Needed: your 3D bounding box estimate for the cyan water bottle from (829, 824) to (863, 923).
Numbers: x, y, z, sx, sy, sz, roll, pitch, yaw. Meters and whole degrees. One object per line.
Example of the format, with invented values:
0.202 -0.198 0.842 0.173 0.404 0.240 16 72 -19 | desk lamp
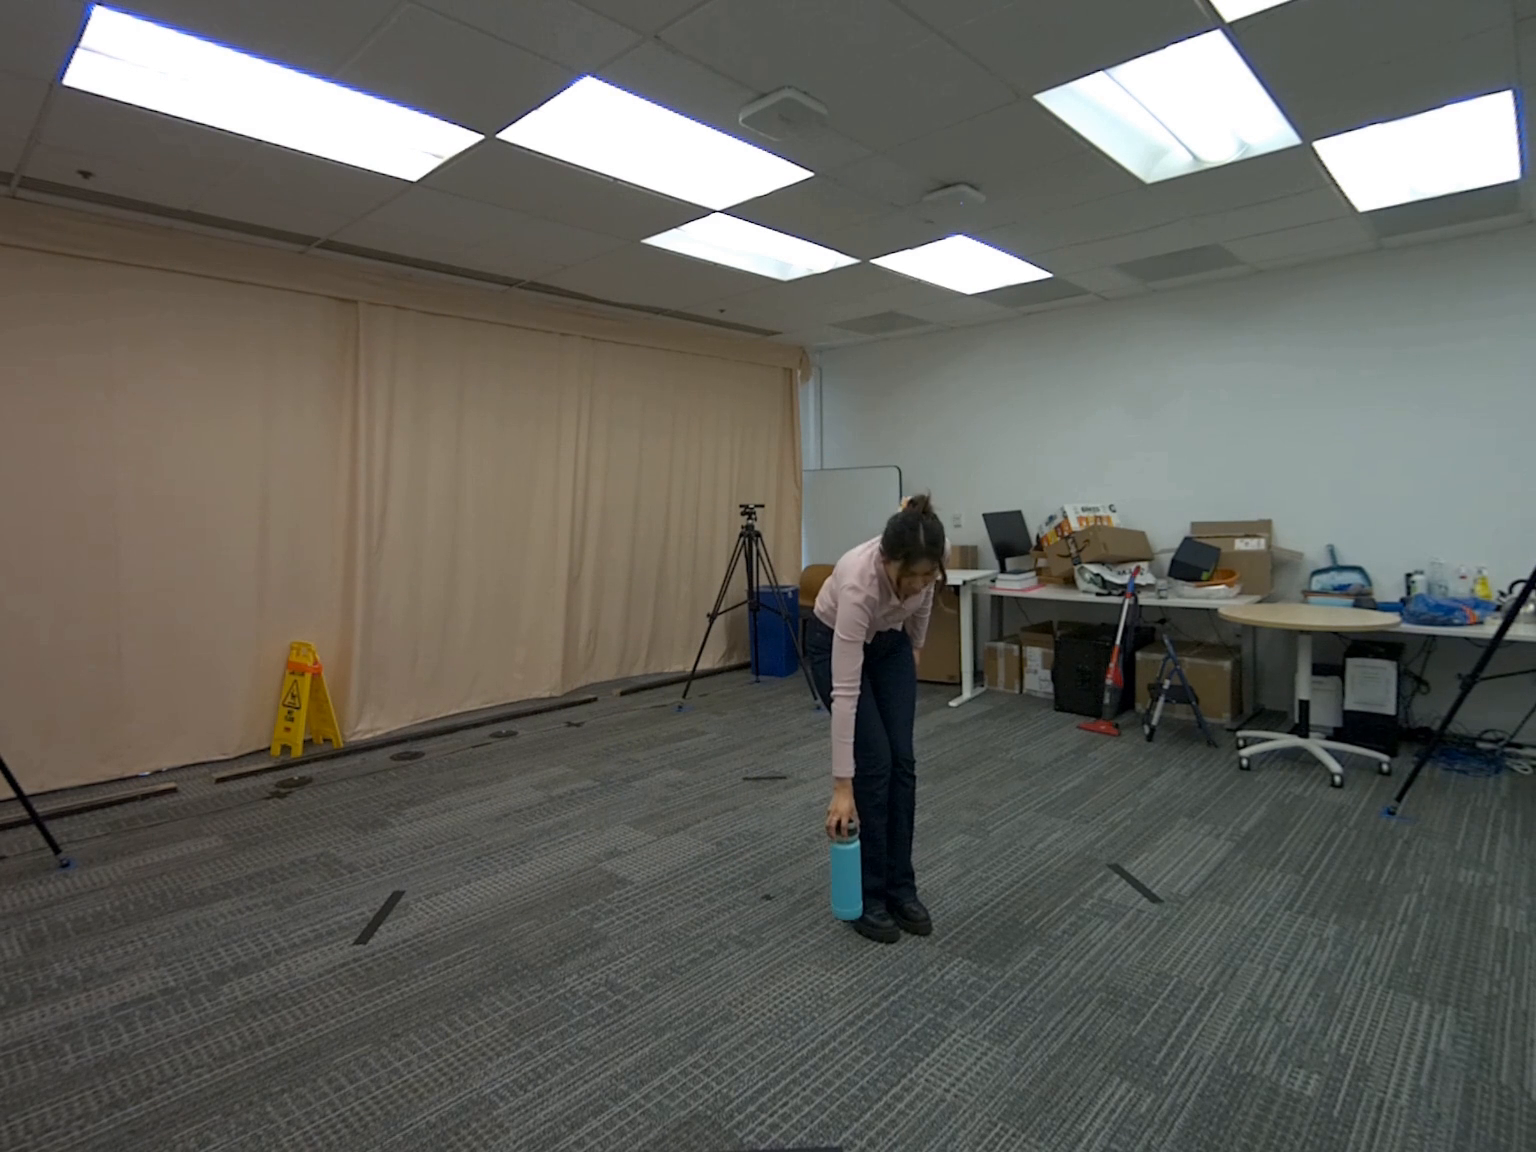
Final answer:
0.229 0.842 2.435 0.092 0.282 0.093 -4 6 -1 | cyan water bottle
